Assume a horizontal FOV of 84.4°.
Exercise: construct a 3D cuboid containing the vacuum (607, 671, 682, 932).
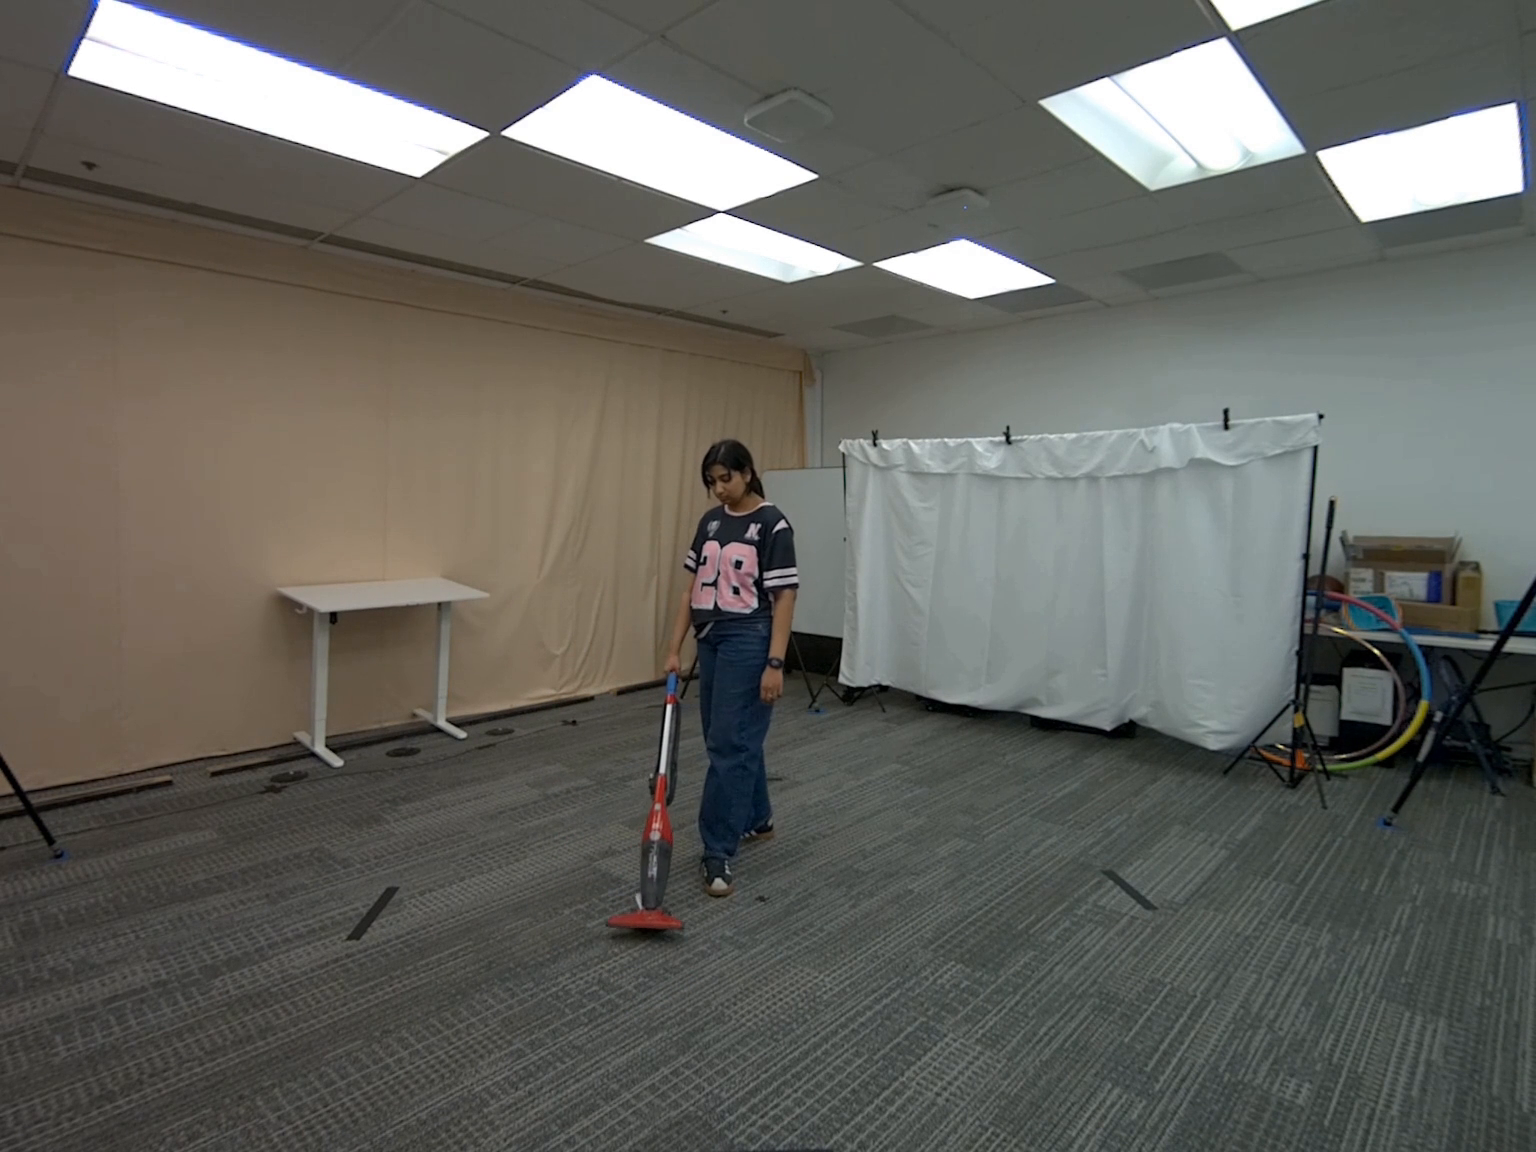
[{"bbox_3d":[-0.381,0.752,3.095,0.254,0.141,1.067,-3,47,4],"label":"vacuum"}]
